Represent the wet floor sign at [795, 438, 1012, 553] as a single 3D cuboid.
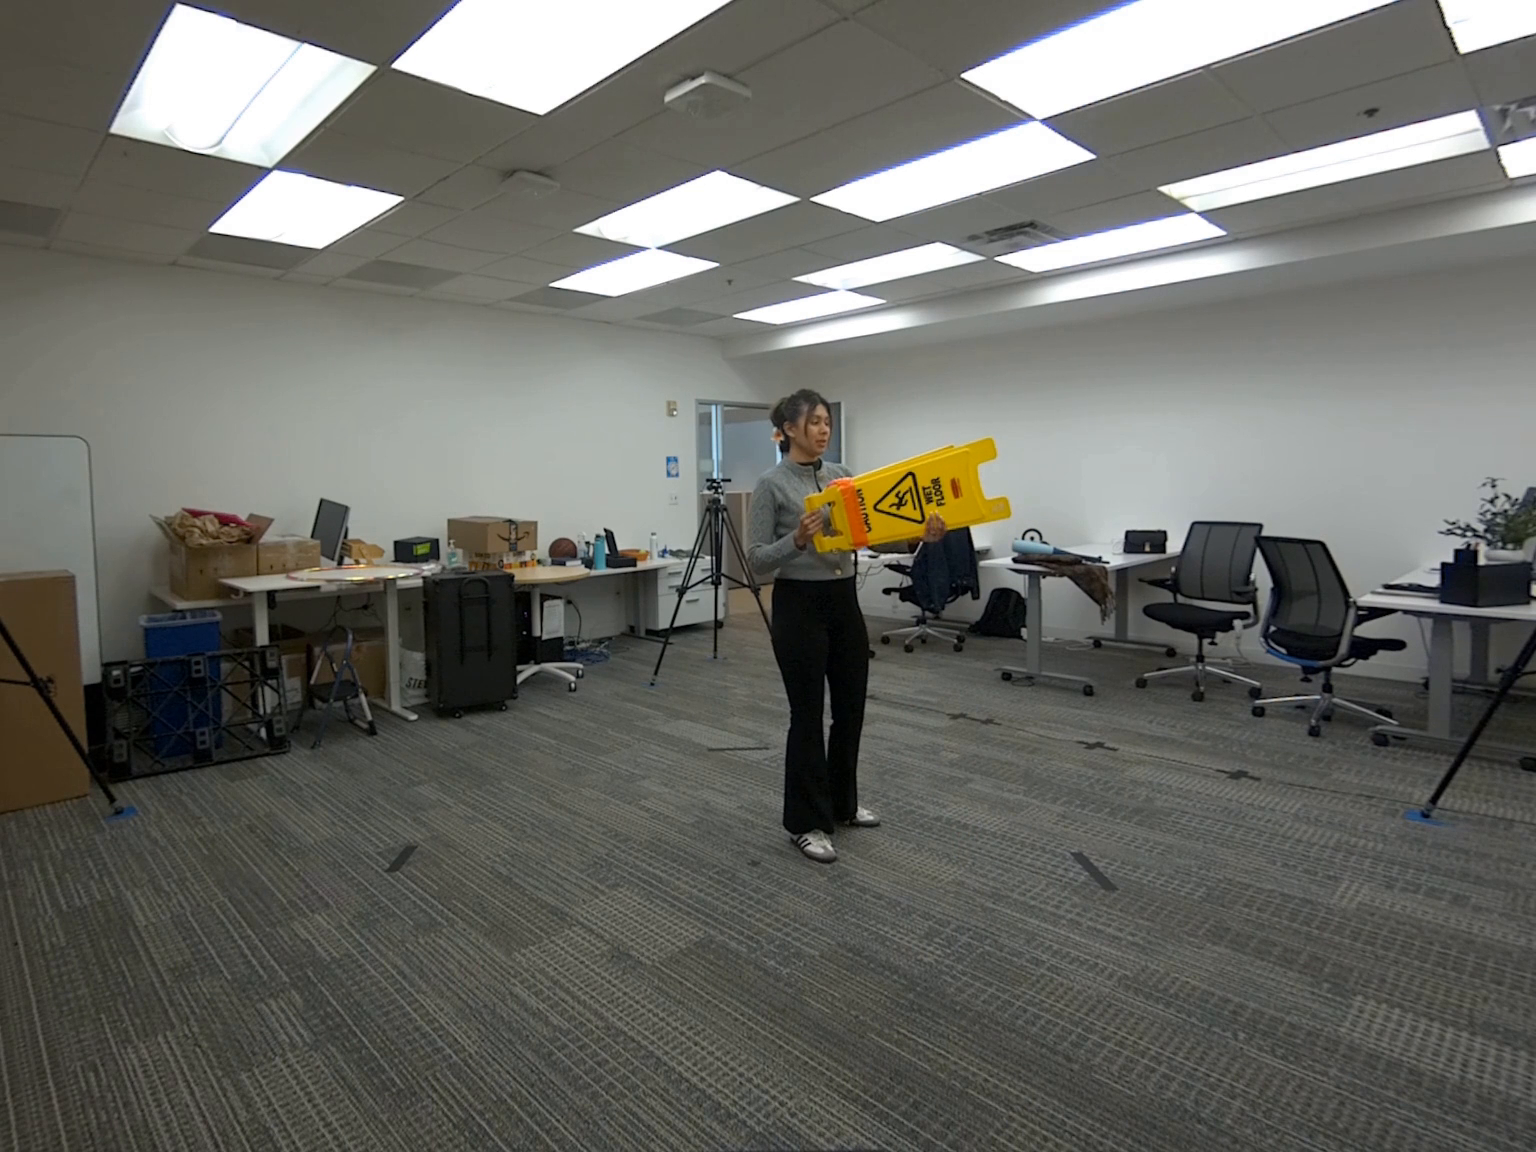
[{"bbox_3d":[0.445,-0.255,2.935,0.641,0.281,0.293,-17,5,-11],"label":"wet floor sign"}]
